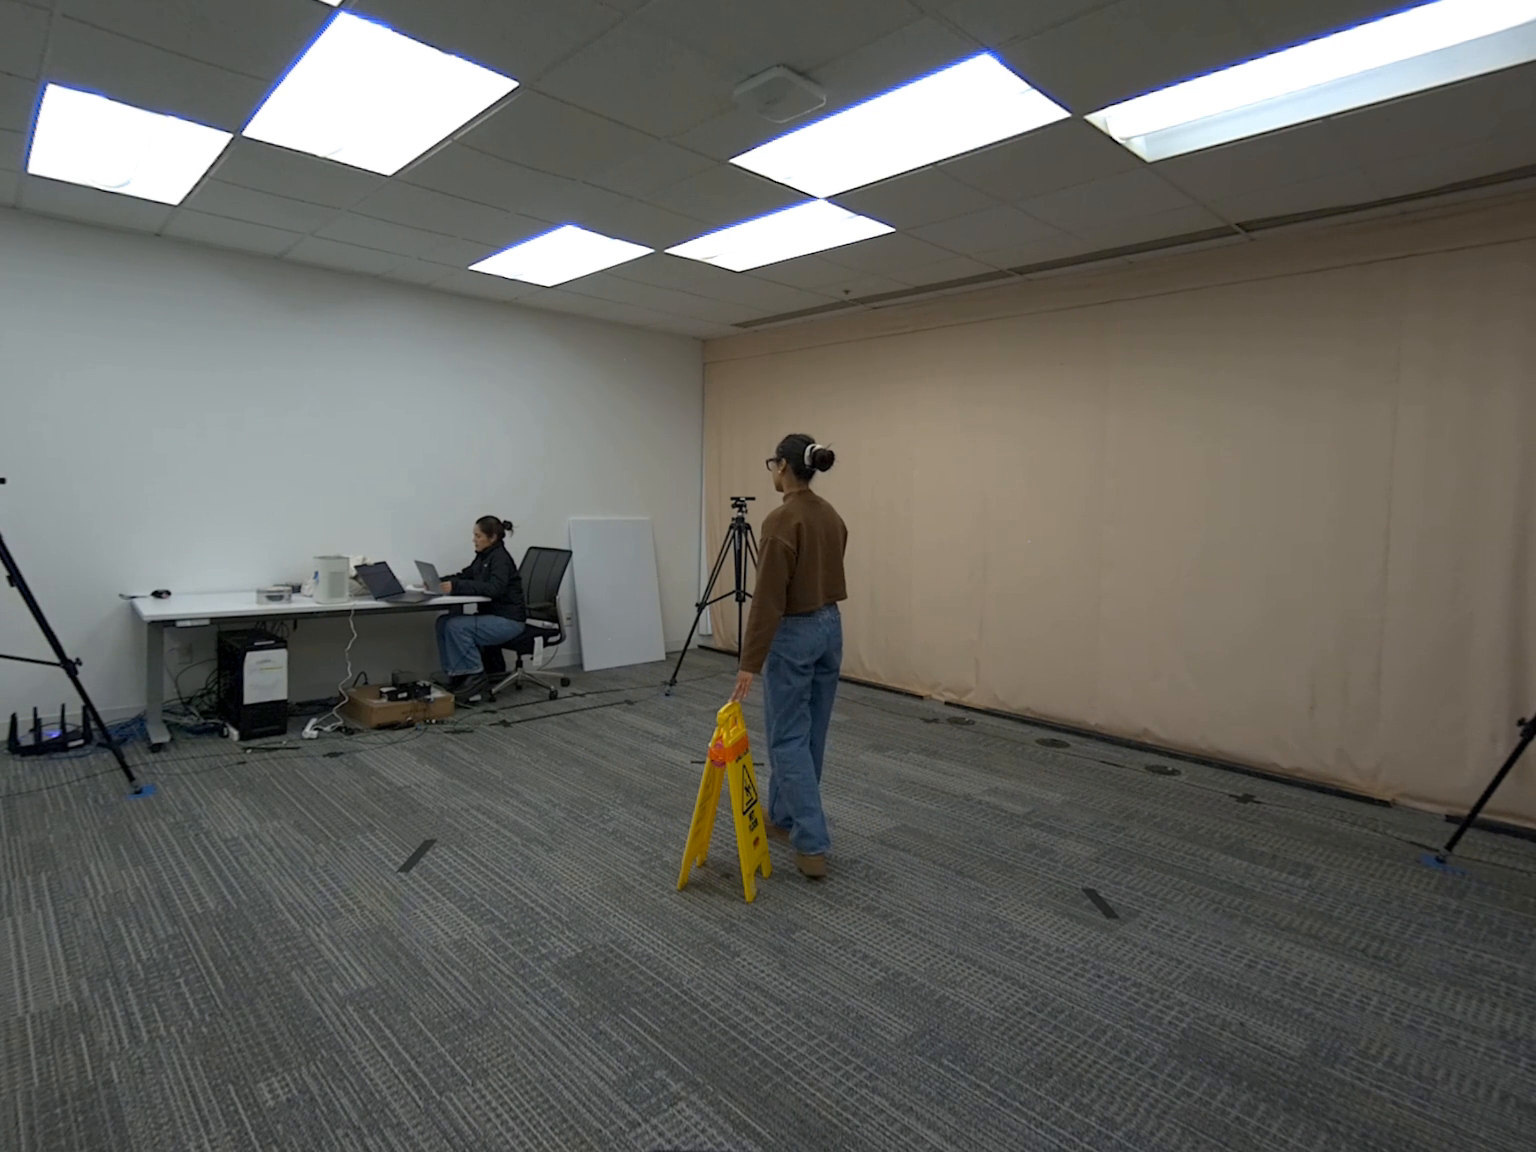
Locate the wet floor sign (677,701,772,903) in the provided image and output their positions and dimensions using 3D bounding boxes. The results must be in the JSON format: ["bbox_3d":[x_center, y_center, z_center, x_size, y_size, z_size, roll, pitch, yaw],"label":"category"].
[{"bbox_3d":[-0.151,0.788,3.042,0.294,0.644,0.279,3,4,16],"label":"wet floor sign"}]
